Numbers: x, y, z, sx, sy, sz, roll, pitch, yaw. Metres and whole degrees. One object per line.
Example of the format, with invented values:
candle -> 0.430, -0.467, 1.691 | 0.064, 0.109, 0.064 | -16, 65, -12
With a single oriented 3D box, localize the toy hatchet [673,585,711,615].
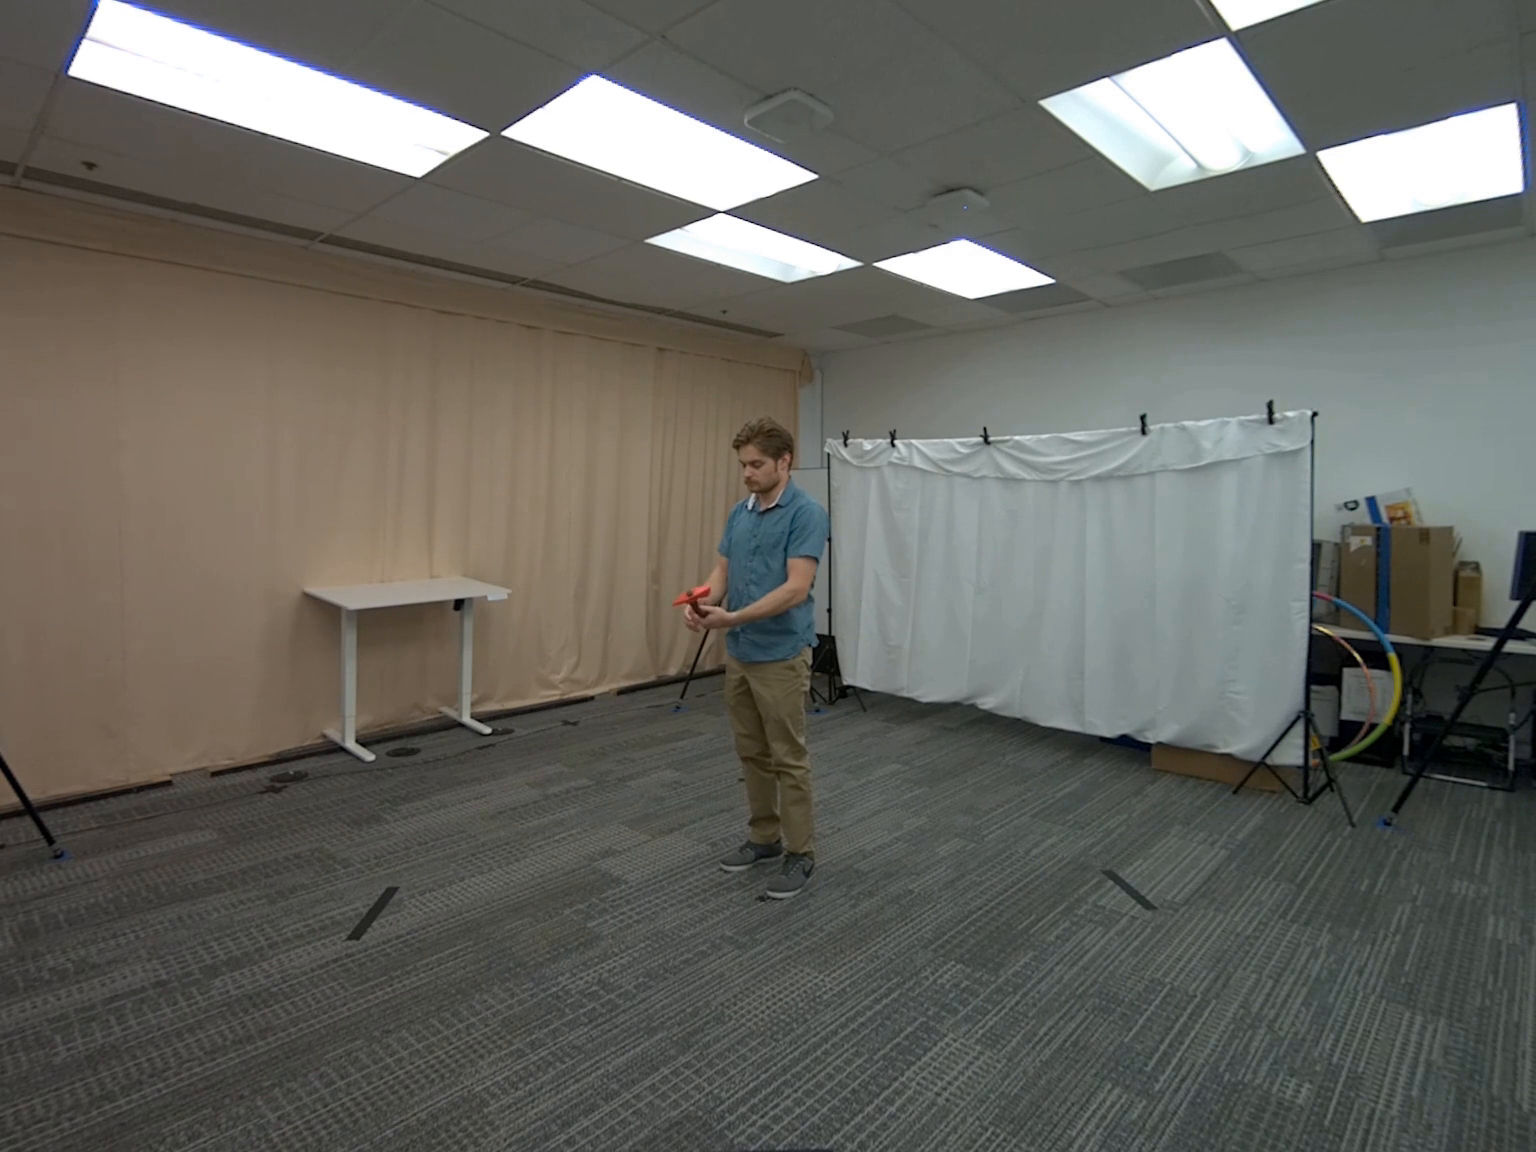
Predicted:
toy hatchet -> -0.232, 0.088, 2.809 | 0.132, 0.030, 0.262 | -34, -22, 9
